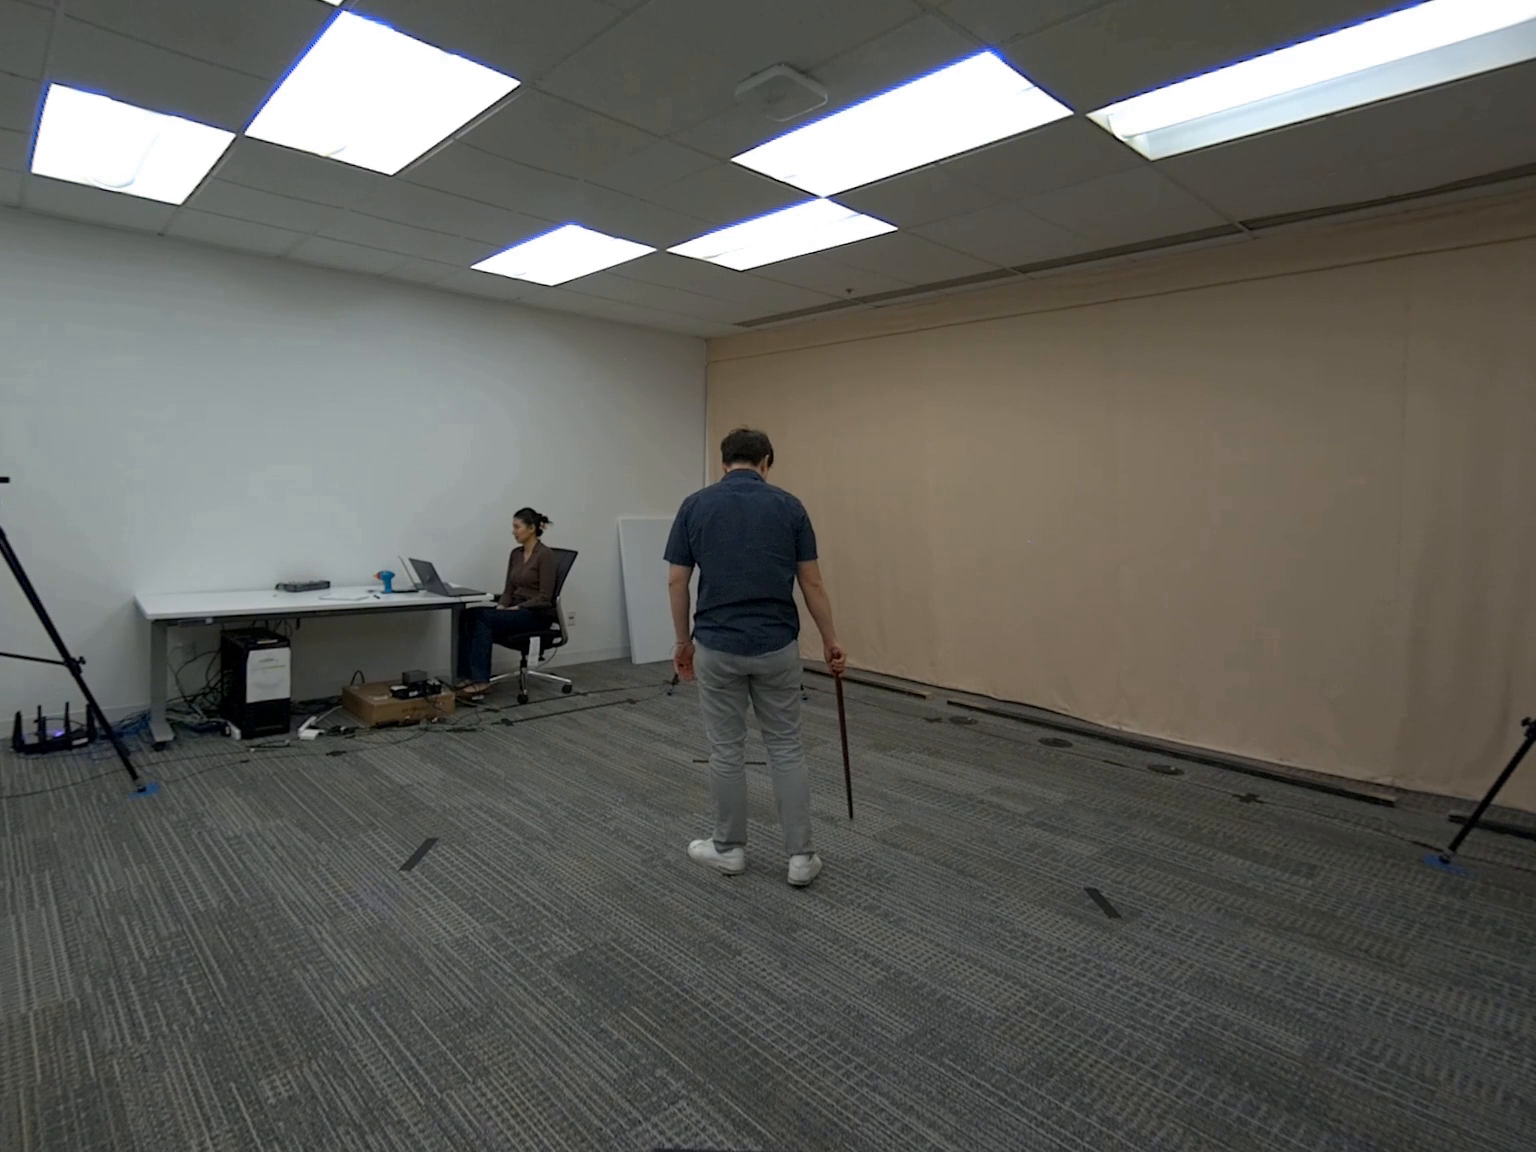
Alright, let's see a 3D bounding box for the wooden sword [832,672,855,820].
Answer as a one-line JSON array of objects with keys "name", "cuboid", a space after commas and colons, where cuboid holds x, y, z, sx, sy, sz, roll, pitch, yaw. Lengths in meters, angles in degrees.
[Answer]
[{"name": "wooden sword", "cuboid": [0.293, 0.679, 3.405, 0.024, 1.000, 0.053, -29, 42, -26]}]
